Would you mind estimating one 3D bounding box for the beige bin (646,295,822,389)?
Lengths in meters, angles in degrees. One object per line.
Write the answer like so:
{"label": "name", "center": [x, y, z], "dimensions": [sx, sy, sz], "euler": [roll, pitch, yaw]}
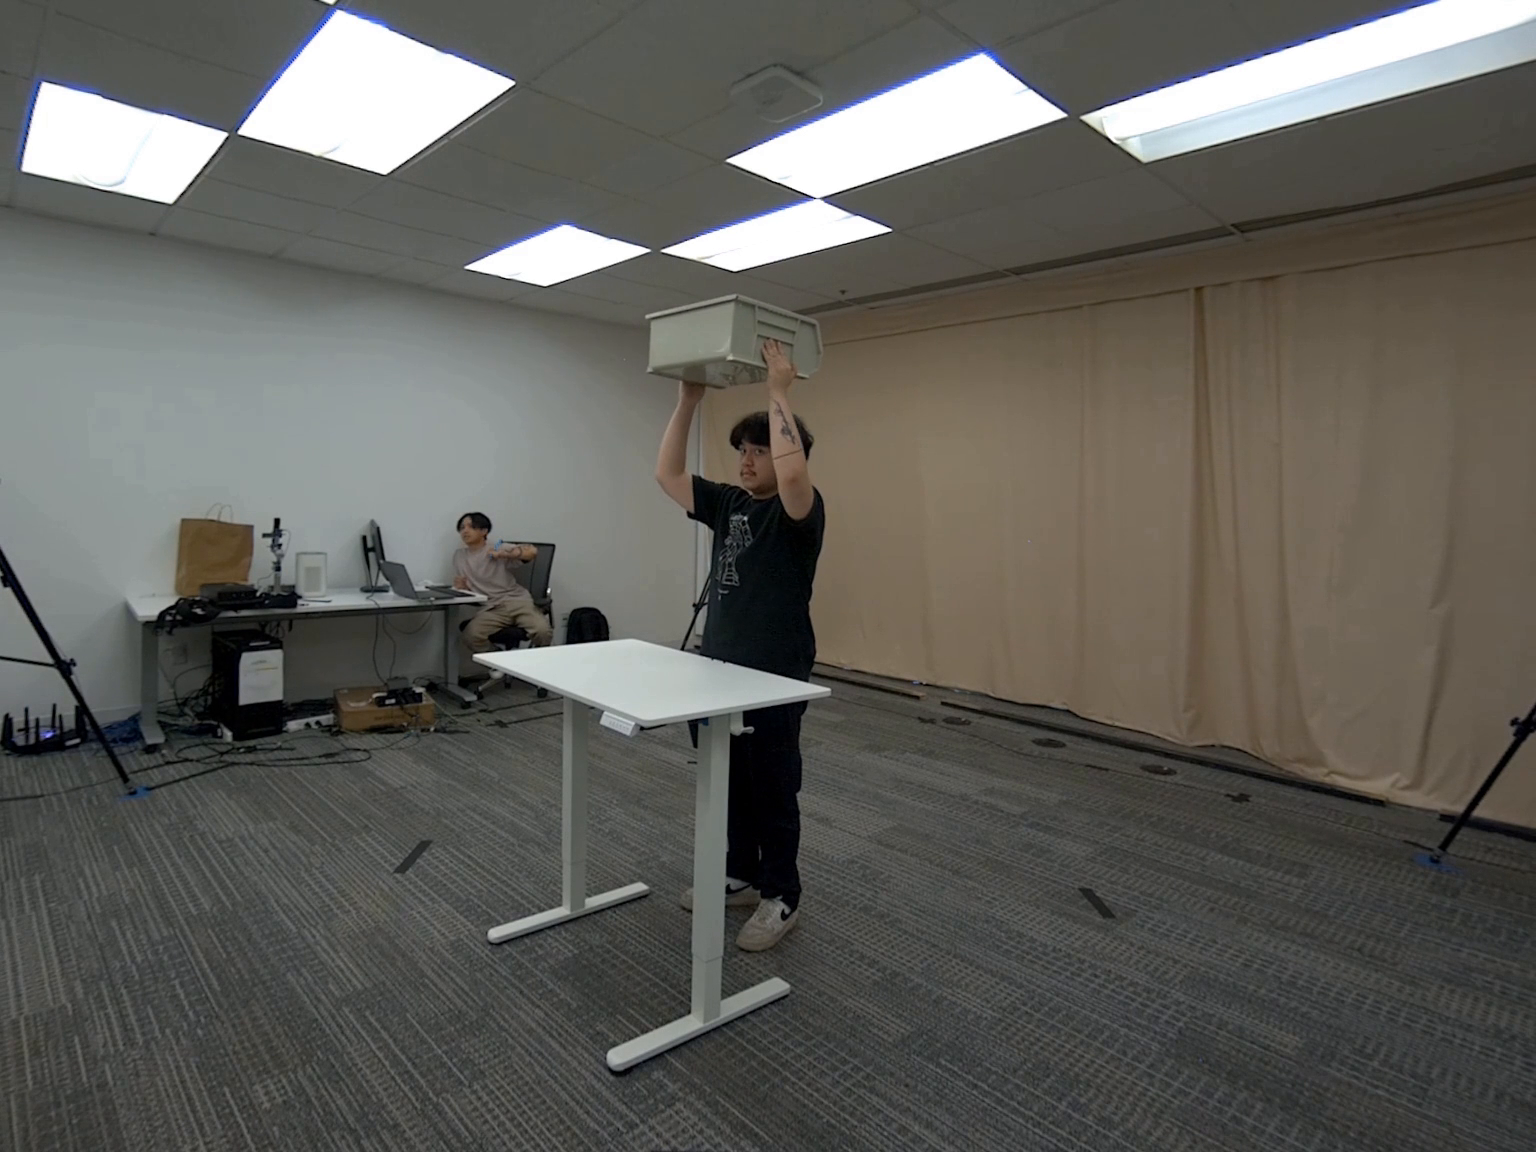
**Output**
{"label": "beige bin", "center": [-0.115, -0.704, 2.606], "dimensions": [0.368, 0.189, 0.433], "euler": [2, 4, -44]}
